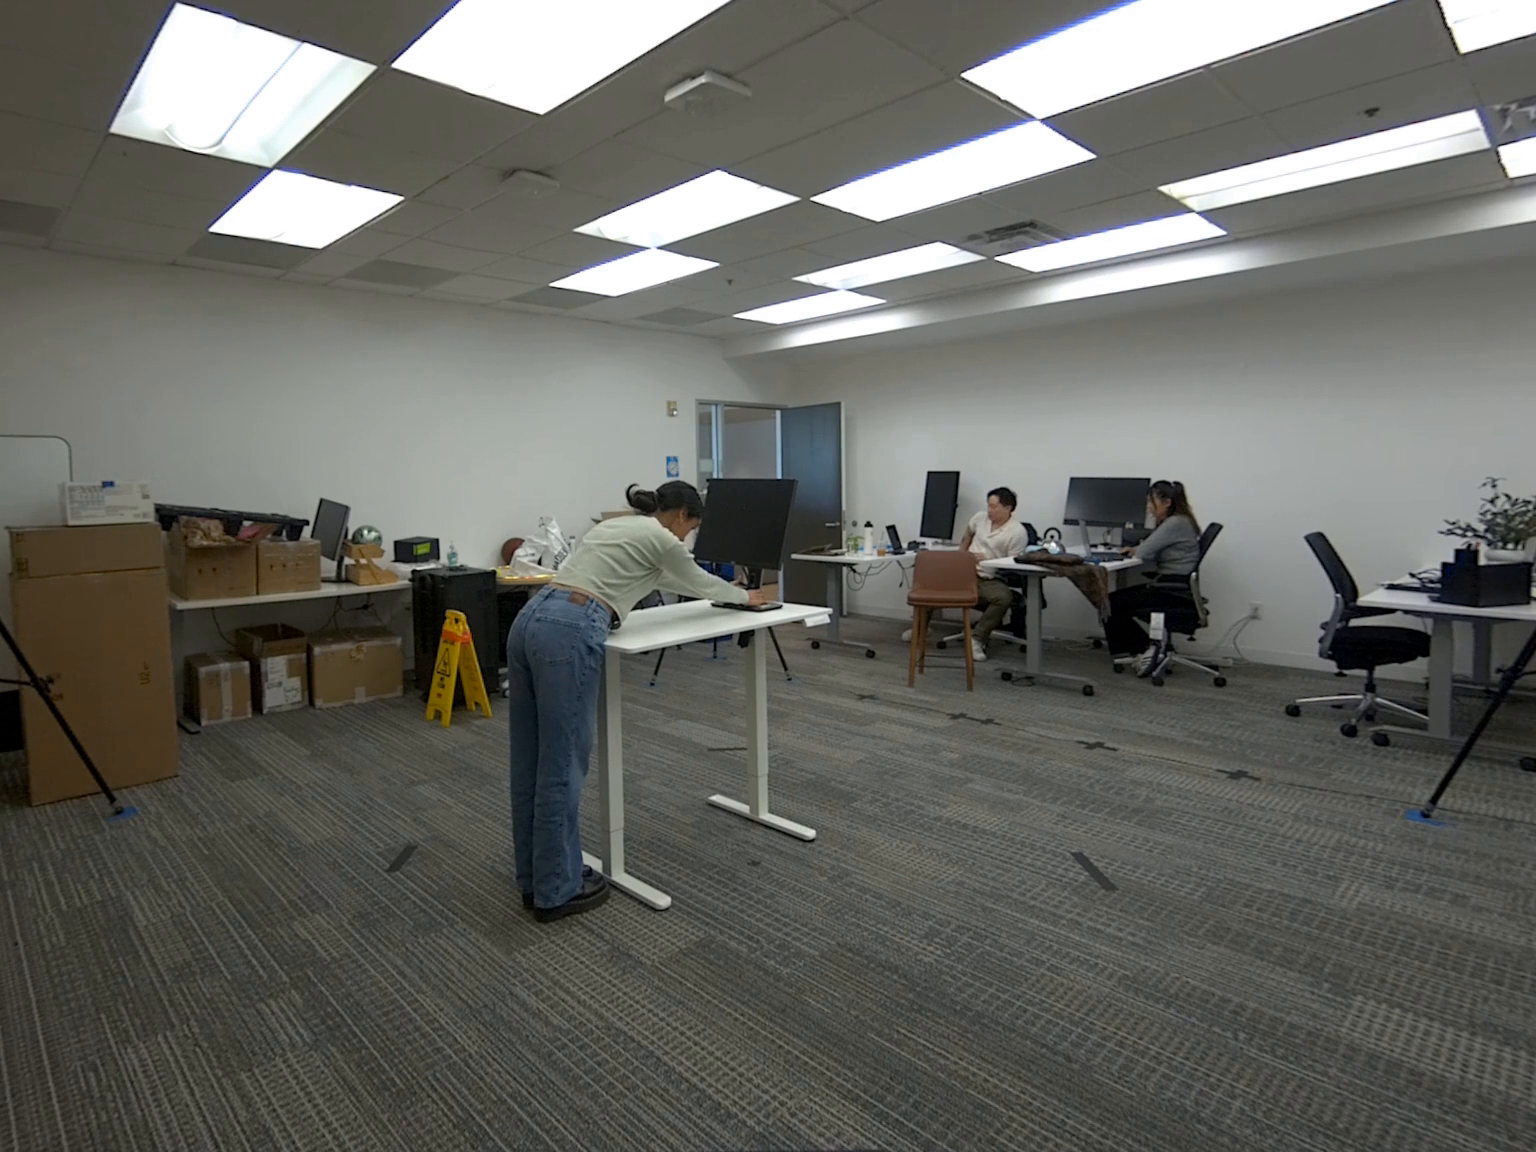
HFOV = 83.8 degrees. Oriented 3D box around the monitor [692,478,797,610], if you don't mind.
[{"bbox_3d":[-0.082,-0.131,3.431,0.182,0.521,0.556,-1,5,-42],"label":"monitor"}]
